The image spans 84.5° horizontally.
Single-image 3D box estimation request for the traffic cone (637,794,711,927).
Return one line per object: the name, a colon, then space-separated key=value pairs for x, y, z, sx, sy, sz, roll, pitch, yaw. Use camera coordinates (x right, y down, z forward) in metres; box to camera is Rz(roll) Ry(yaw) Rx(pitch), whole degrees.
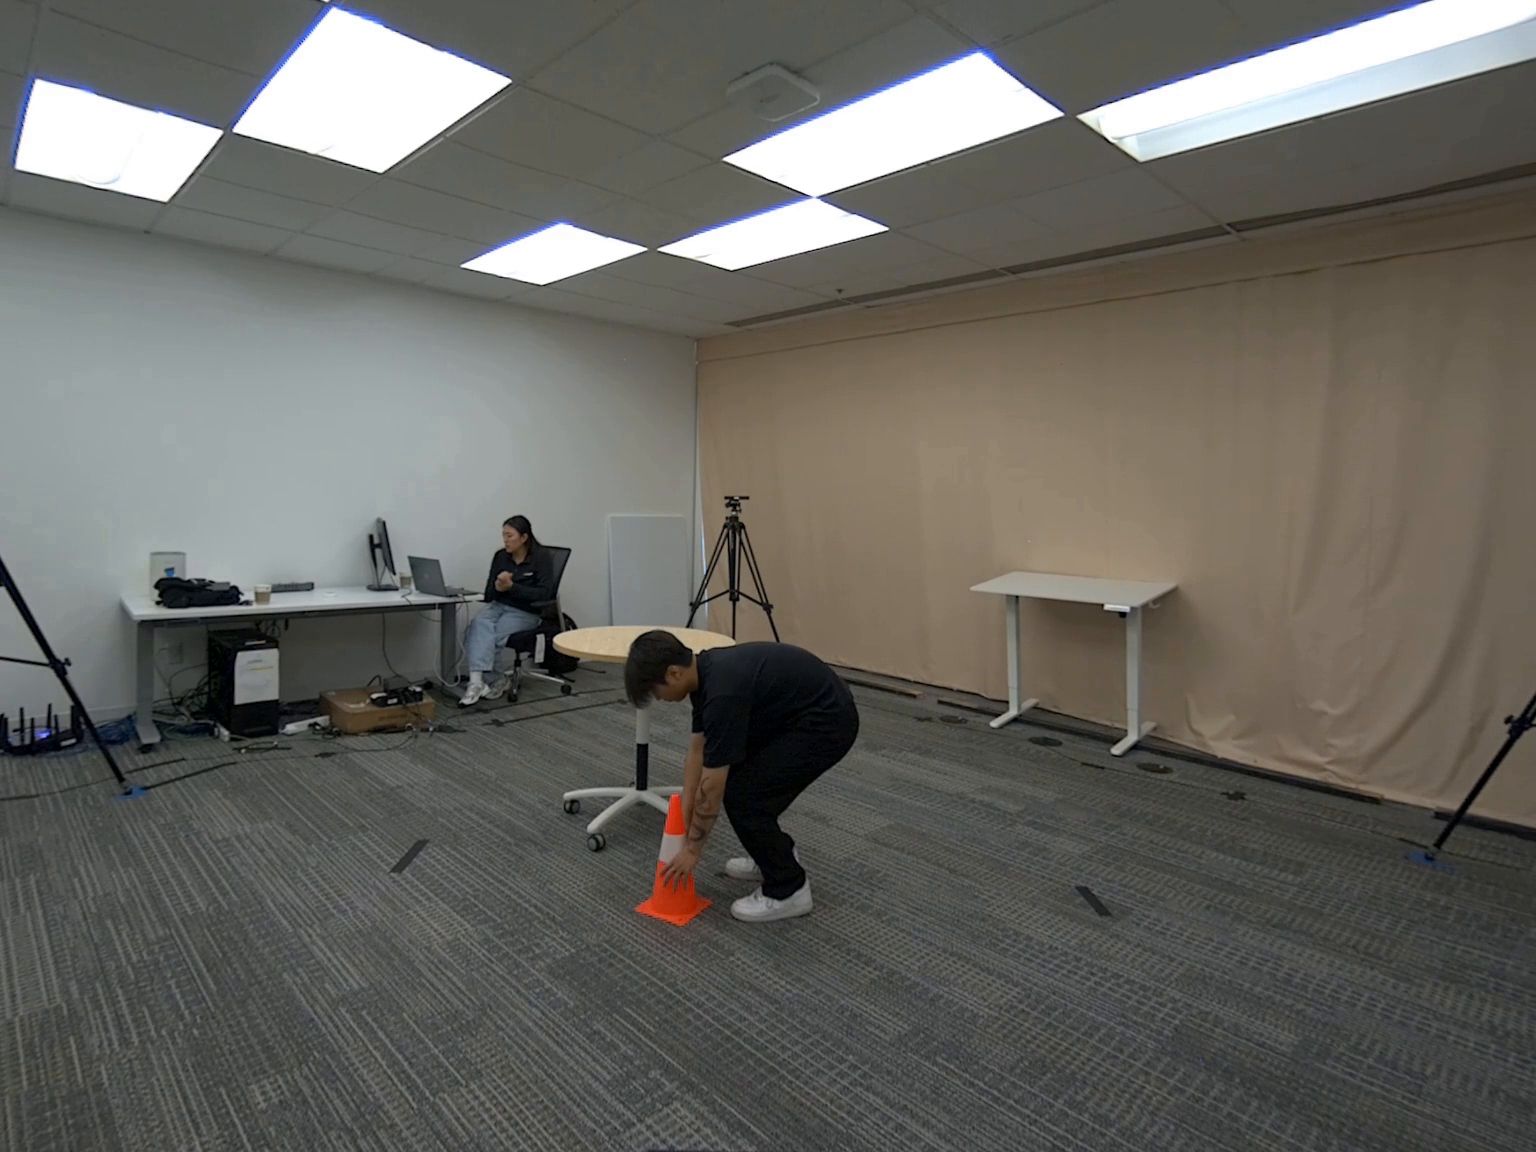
traffic cone: x=-0.321 y=0.937 z=2.862 sx=0.210 sy=0.383 sz=0.199 roll=3 pitch=3 yaw=33
